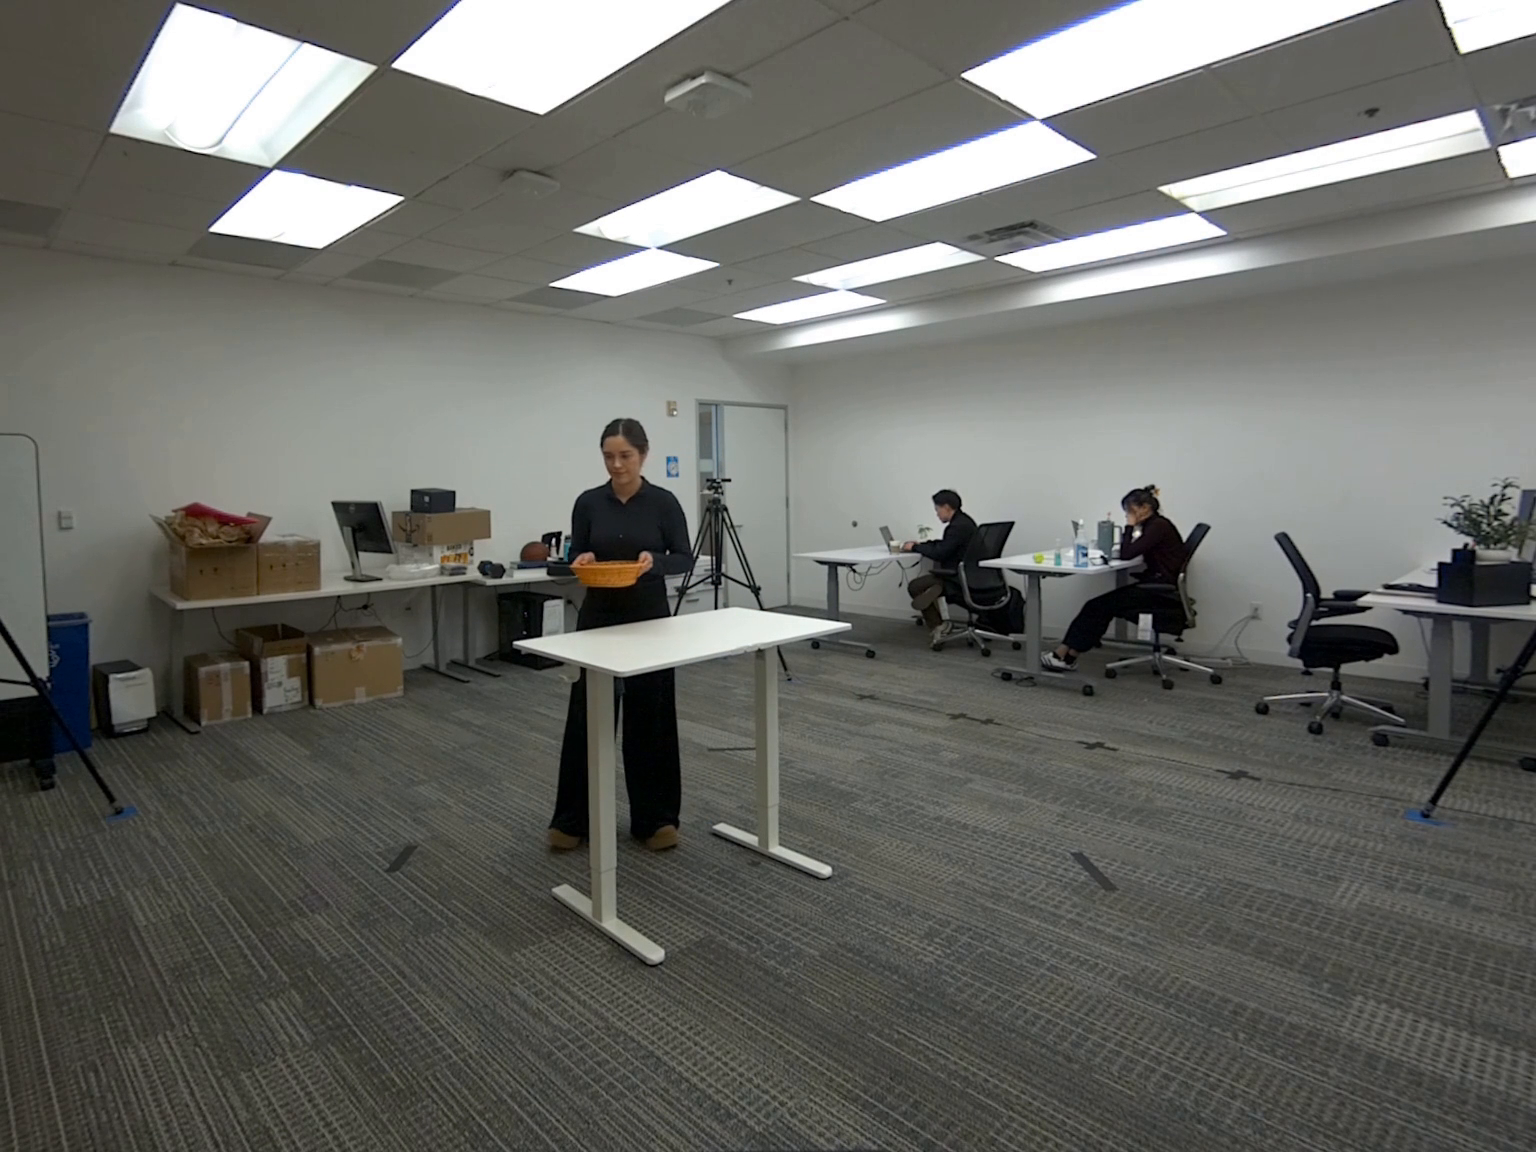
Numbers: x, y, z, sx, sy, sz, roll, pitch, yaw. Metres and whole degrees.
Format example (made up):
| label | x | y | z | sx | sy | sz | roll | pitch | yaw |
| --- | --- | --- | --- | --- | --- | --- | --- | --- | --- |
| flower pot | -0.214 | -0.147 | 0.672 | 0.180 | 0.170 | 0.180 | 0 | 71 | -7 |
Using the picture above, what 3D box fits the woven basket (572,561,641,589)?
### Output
| label | x | y | z | sx | sy | sz | roll | pitch | yaw |
| --- | --- | --- | --- | --- | --- | --- | --- | --- | --- |
| woven basket | -0.594 | -0.005 | 3.033 | 0.248 | 0.073 | 0.358 | -3 | 4 | -21 |
